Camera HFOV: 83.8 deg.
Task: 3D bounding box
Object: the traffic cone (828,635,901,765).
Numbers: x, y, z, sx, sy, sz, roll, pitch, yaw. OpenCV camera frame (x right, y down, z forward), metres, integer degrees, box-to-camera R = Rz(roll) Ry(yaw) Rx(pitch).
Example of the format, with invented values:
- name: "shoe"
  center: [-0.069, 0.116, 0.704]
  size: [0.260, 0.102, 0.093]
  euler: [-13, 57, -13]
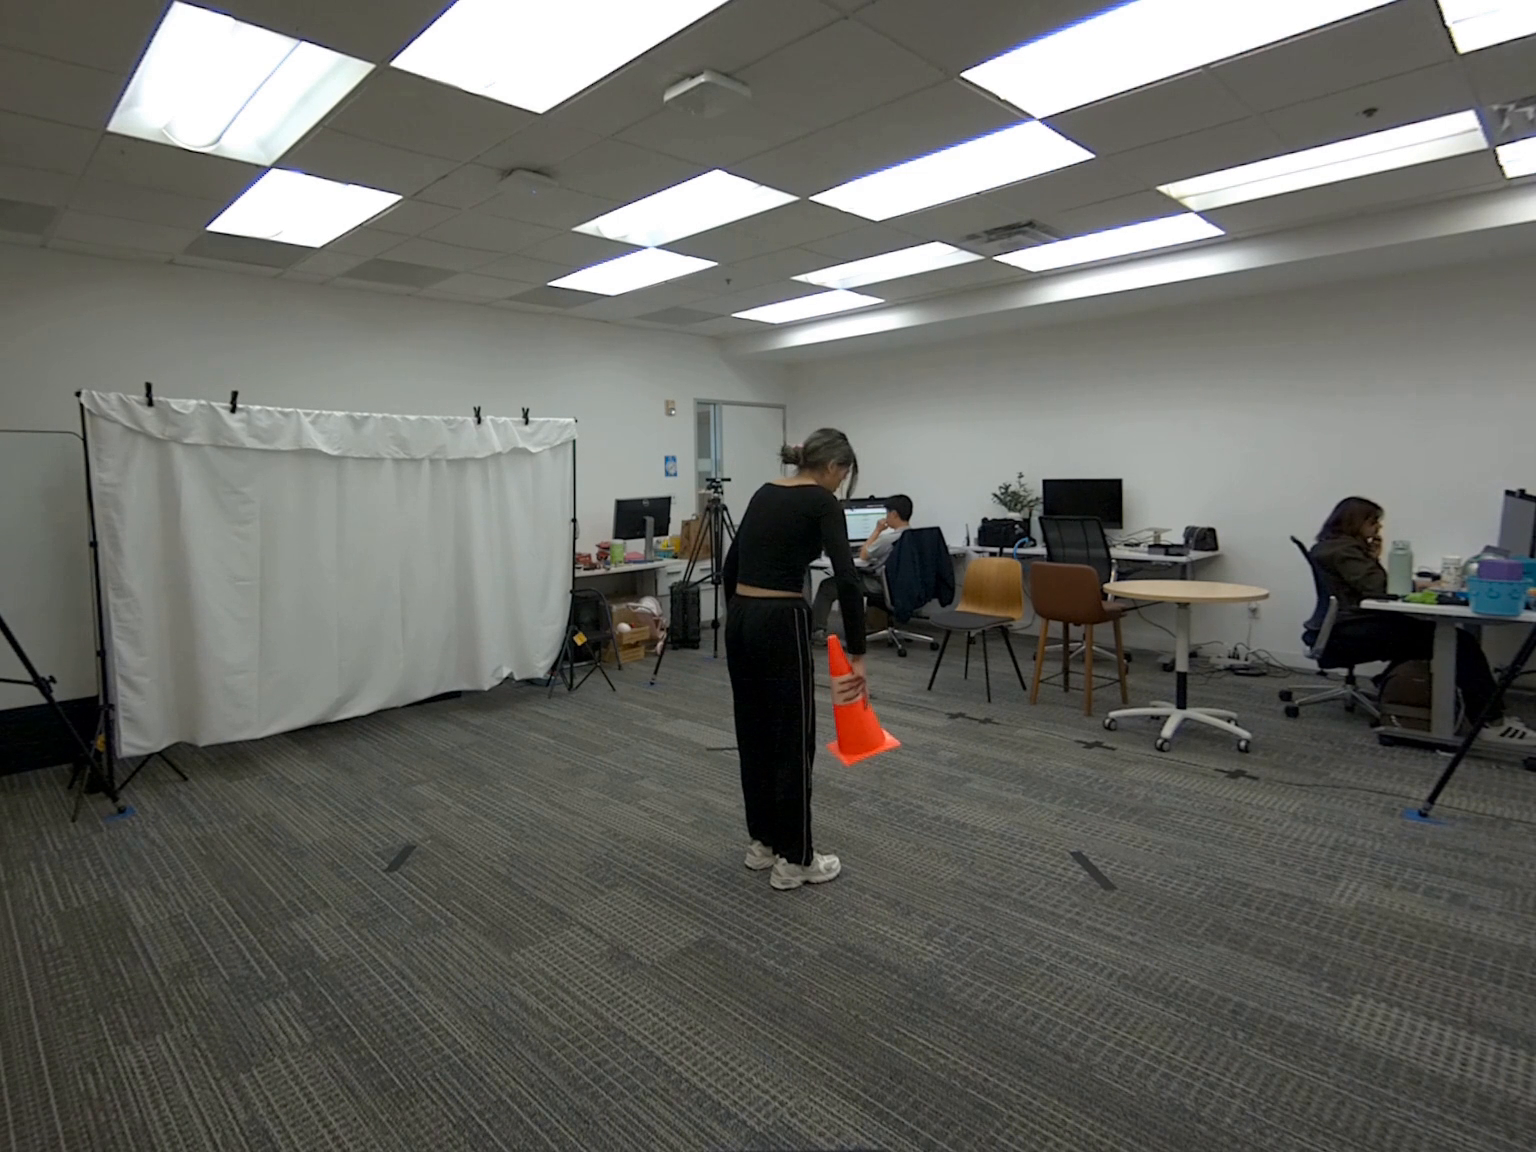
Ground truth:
- name: "traffic cone"
  center: [0.258, 0.379, 2.779]
  size: [0.203, 0.380, 0.207]
  euler: [-18, 8, -13]
